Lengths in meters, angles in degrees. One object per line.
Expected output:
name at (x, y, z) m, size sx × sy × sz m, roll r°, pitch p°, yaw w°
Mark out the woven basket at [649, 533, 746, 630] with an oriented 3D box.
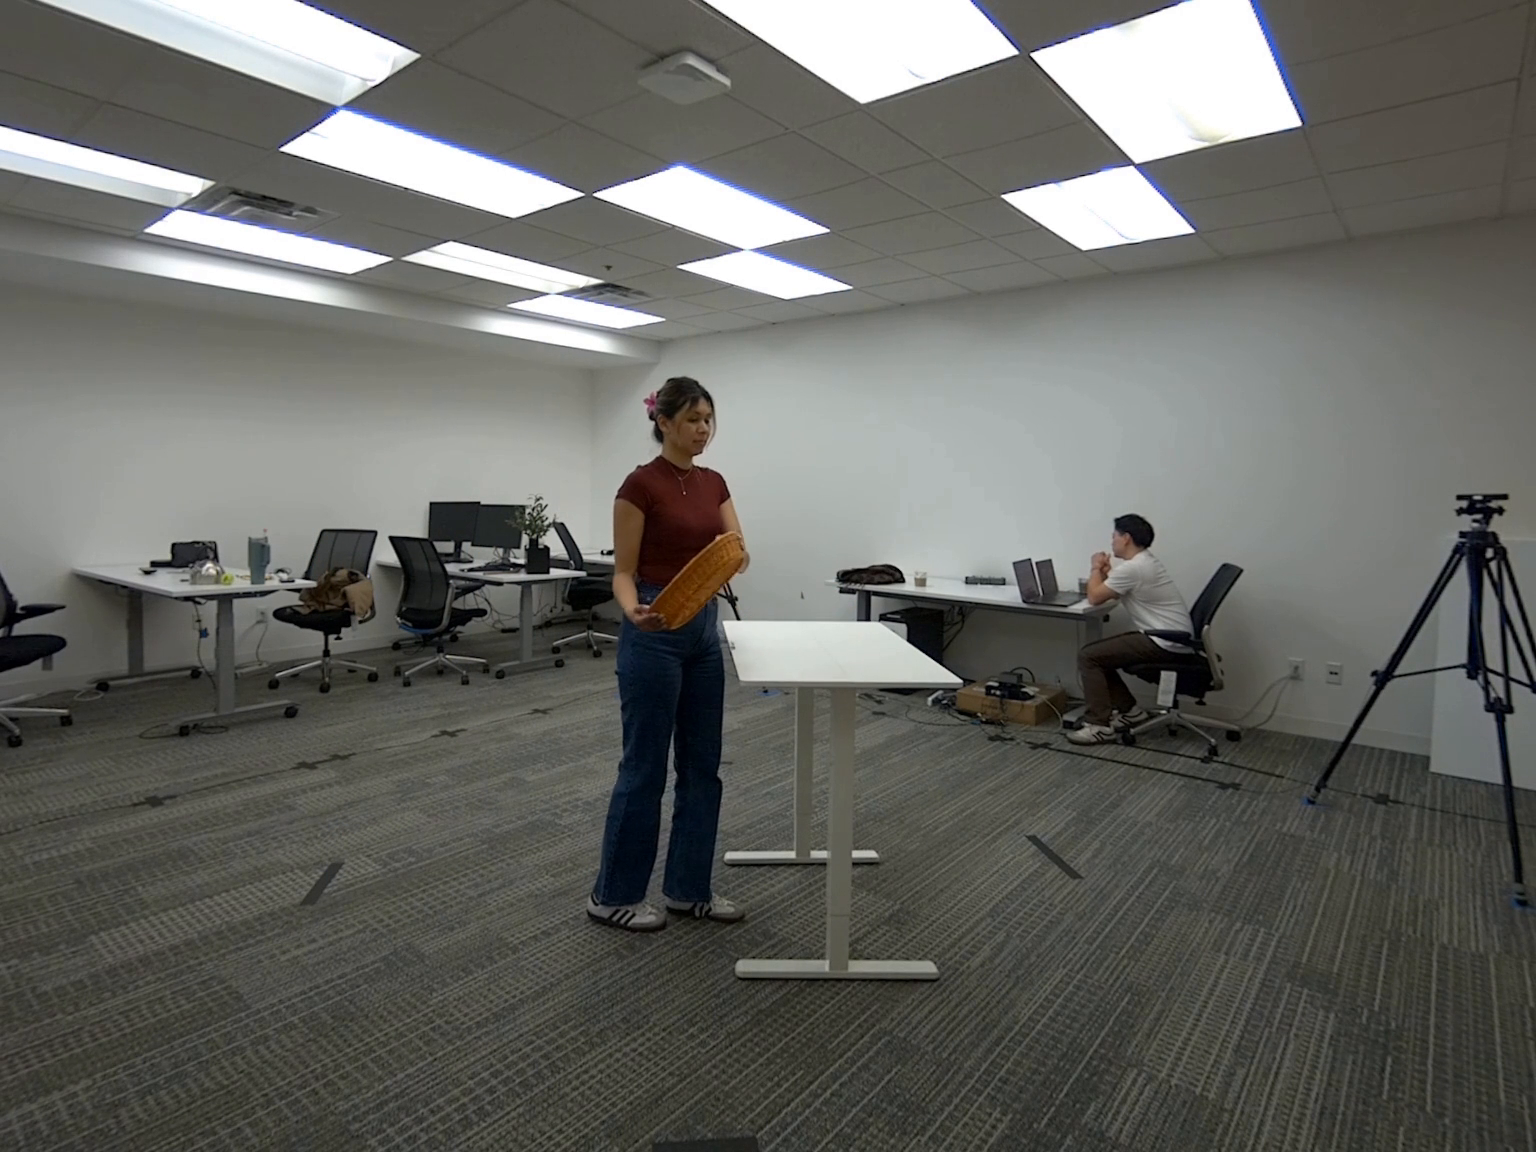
woven basket at (-0.195, 0.024, 2.331) m, size 0.074 × 0.350 × 0.249 m, roll 46°, pitch 11°, yaw 6°
